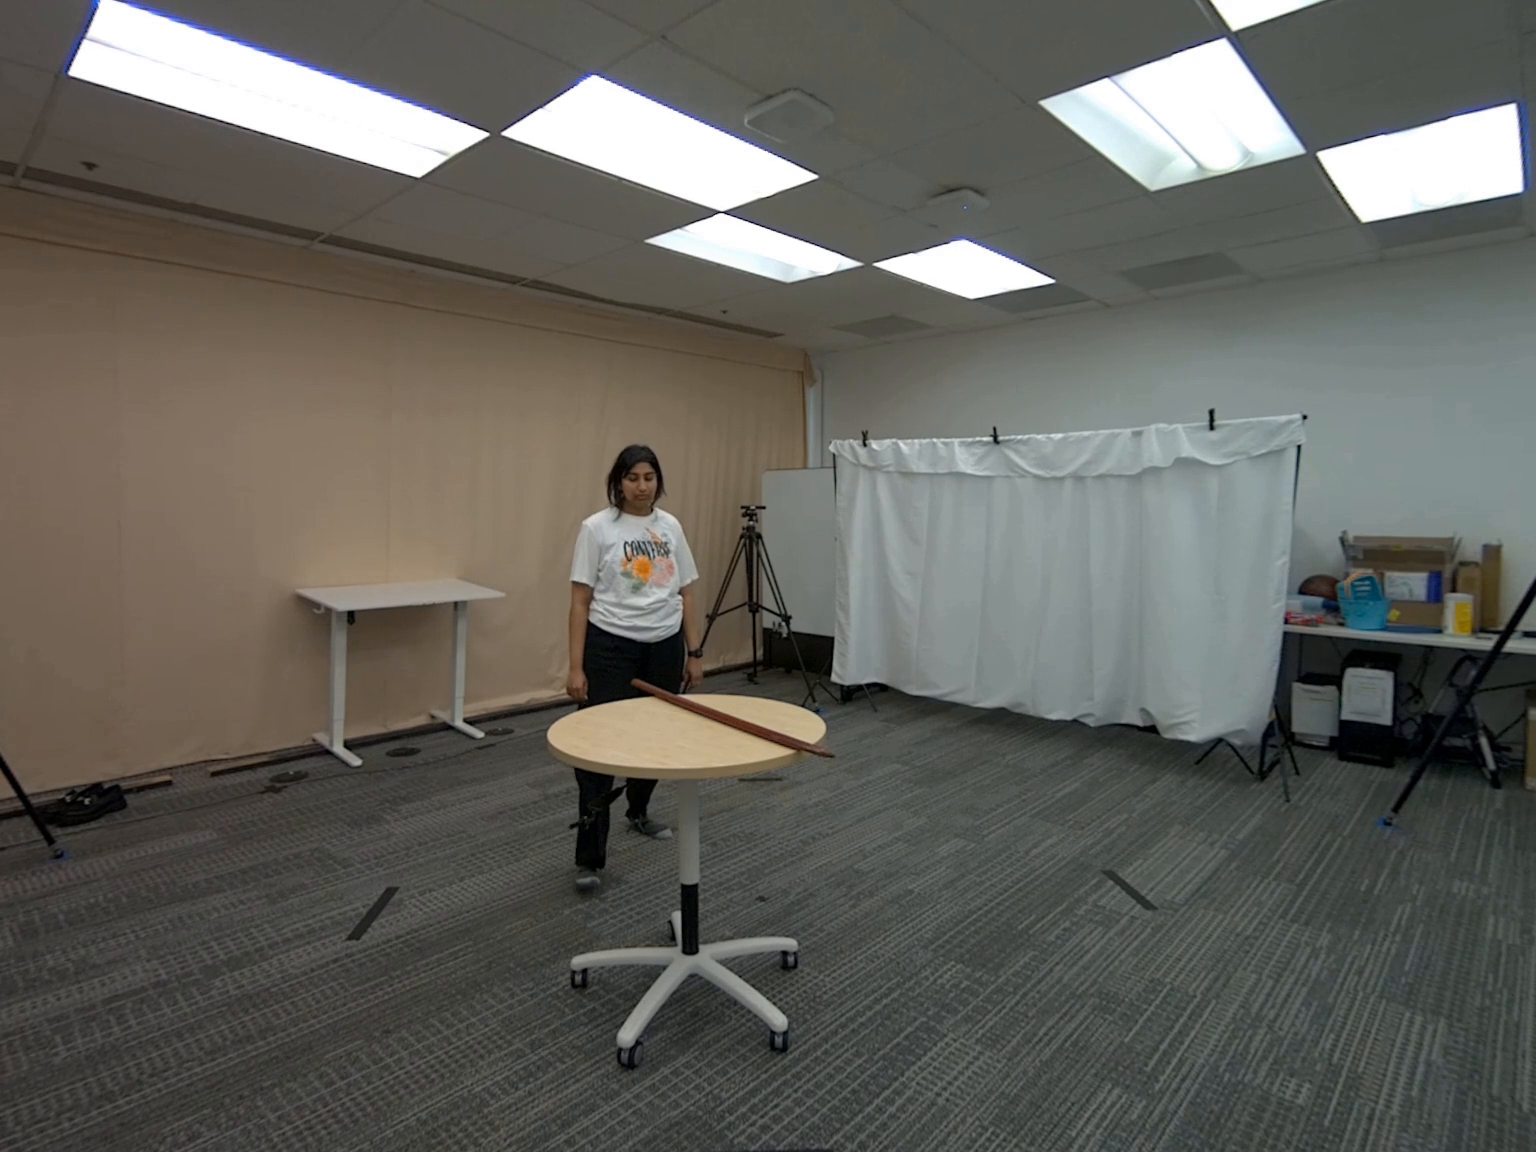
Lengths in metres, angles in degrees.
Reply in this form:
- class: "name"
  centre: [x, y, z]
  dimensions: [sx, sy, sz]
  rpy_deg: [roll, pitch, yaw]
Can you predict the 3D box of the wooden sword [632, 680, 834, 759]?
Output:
- class: "wooden sword"
  centre: [-0.139, 0.393, 2.455]
  dimensions: [0.050, 0.024, 1.055]
  rpy_deg: [-25, 16, -29]
